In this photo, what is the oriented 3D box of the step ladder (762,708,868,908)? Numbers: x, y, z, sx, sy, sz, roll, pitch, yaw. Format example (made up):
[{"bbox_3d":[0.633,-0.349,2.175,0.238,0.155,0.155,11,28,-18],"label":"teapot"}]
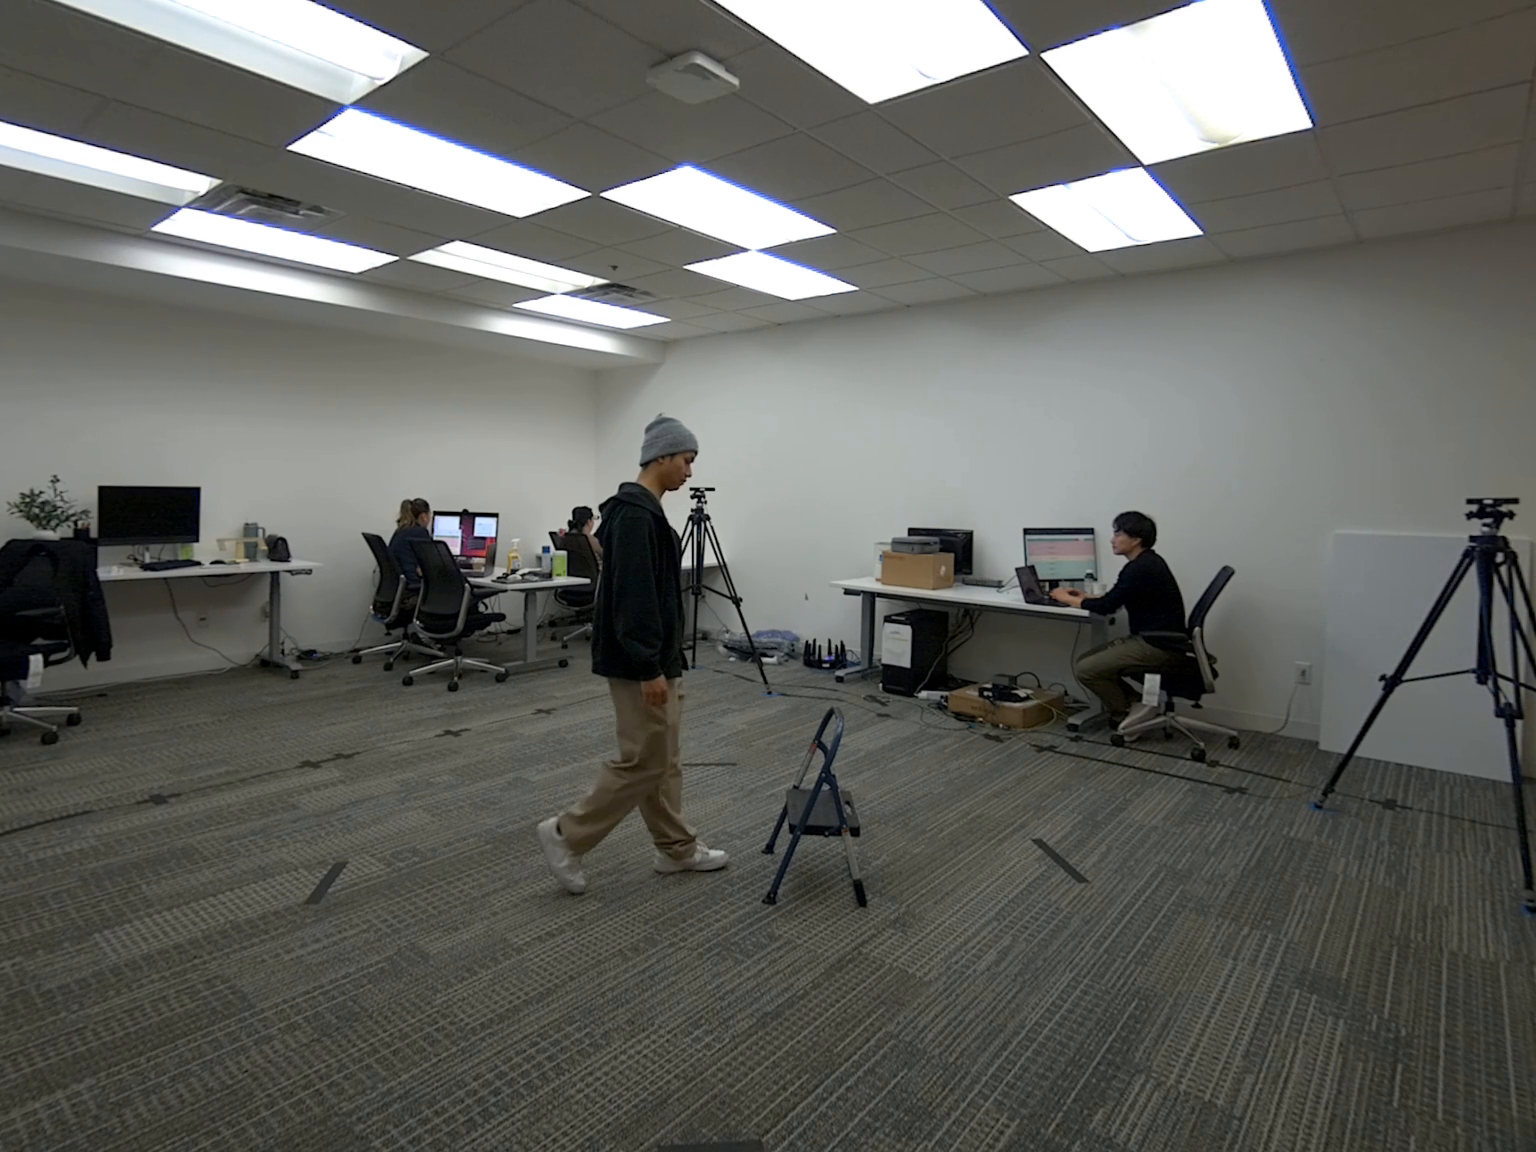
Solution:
[{"bbox_3d":[0.159,0.784,3.033,0.350,0.604,0.432,1,4,0],"label":"step ladder"}]
